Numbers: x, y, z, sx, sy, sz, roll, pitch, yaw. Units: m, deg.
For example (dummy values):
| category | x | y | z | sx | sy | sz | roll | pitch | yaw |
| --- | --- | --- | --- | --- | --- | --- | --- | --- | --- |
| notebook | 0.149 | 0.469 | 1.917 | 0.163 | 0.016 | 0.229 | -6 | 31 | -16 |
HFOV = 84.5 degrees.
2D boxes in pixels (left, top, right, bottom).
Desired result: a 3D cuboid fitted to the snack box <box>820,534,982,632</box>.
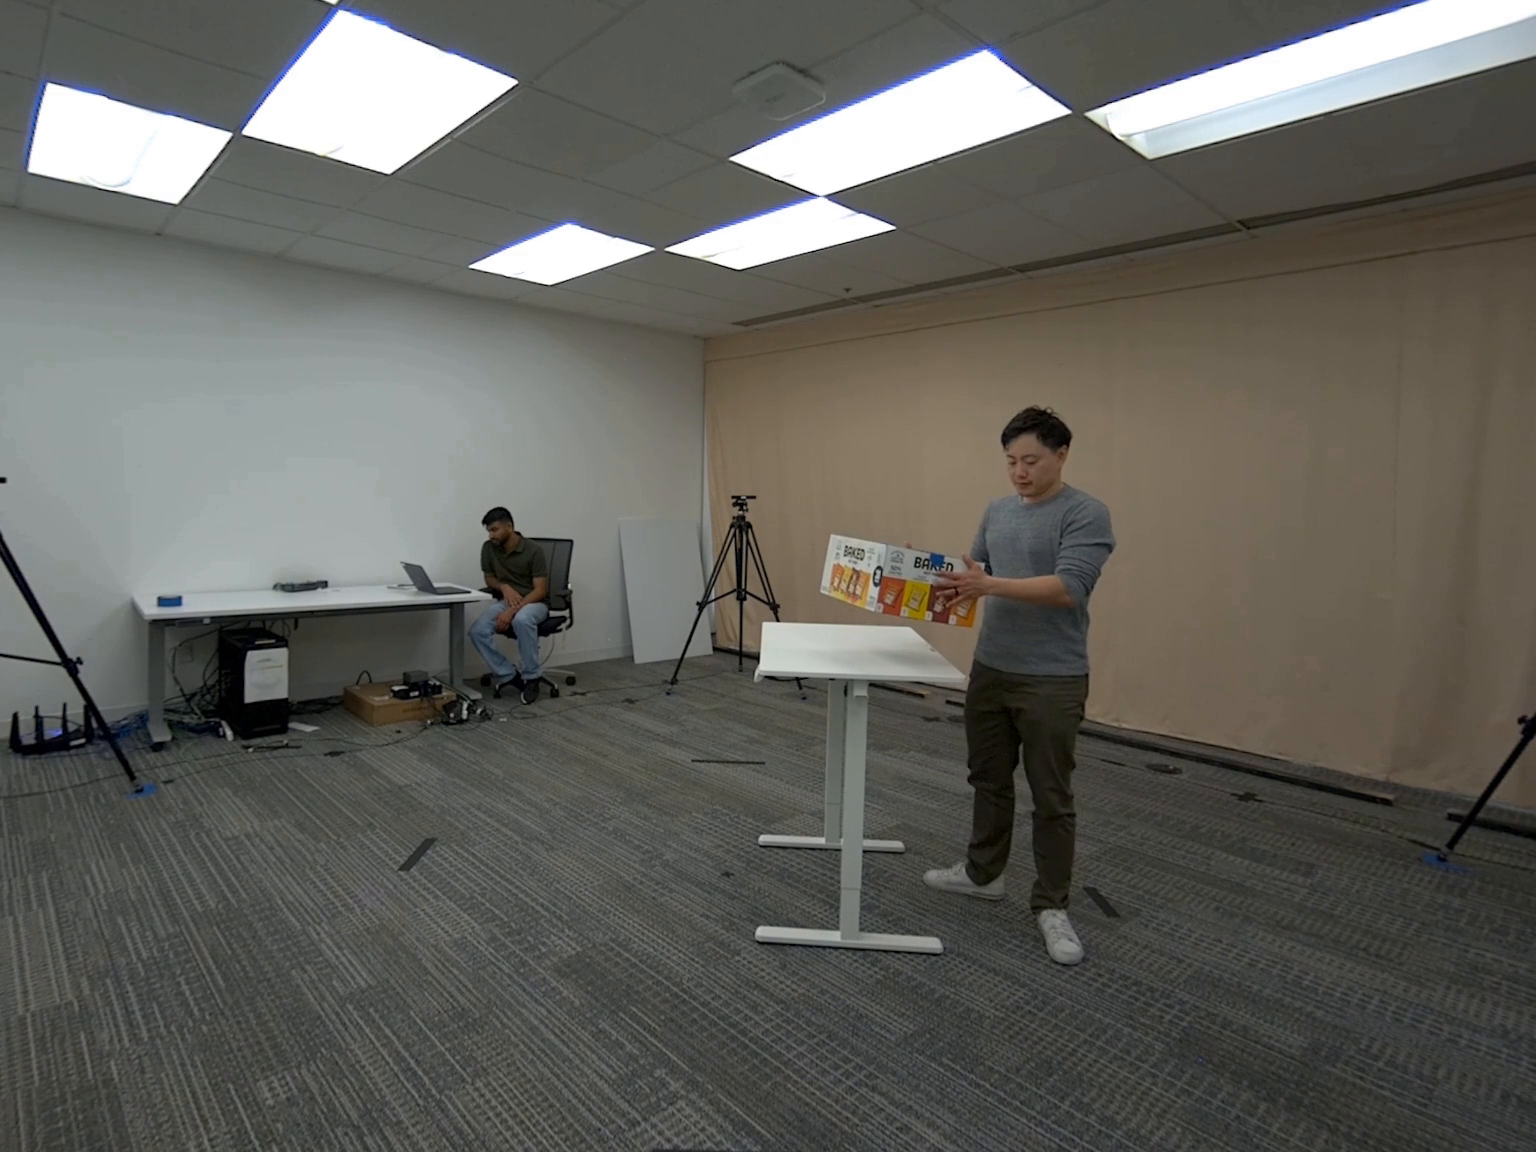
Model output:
| category | x | y | z | sx | sy | sz | roll | pitch | yaw |
| --- | --- | --- | --- | --- | --- | --- | --- | --- | --- |
| snack box | 0.418 | 0.013 | 2.695 | 0.335 | 0.205 | 0.412 | 10 | 3 | -19 |
